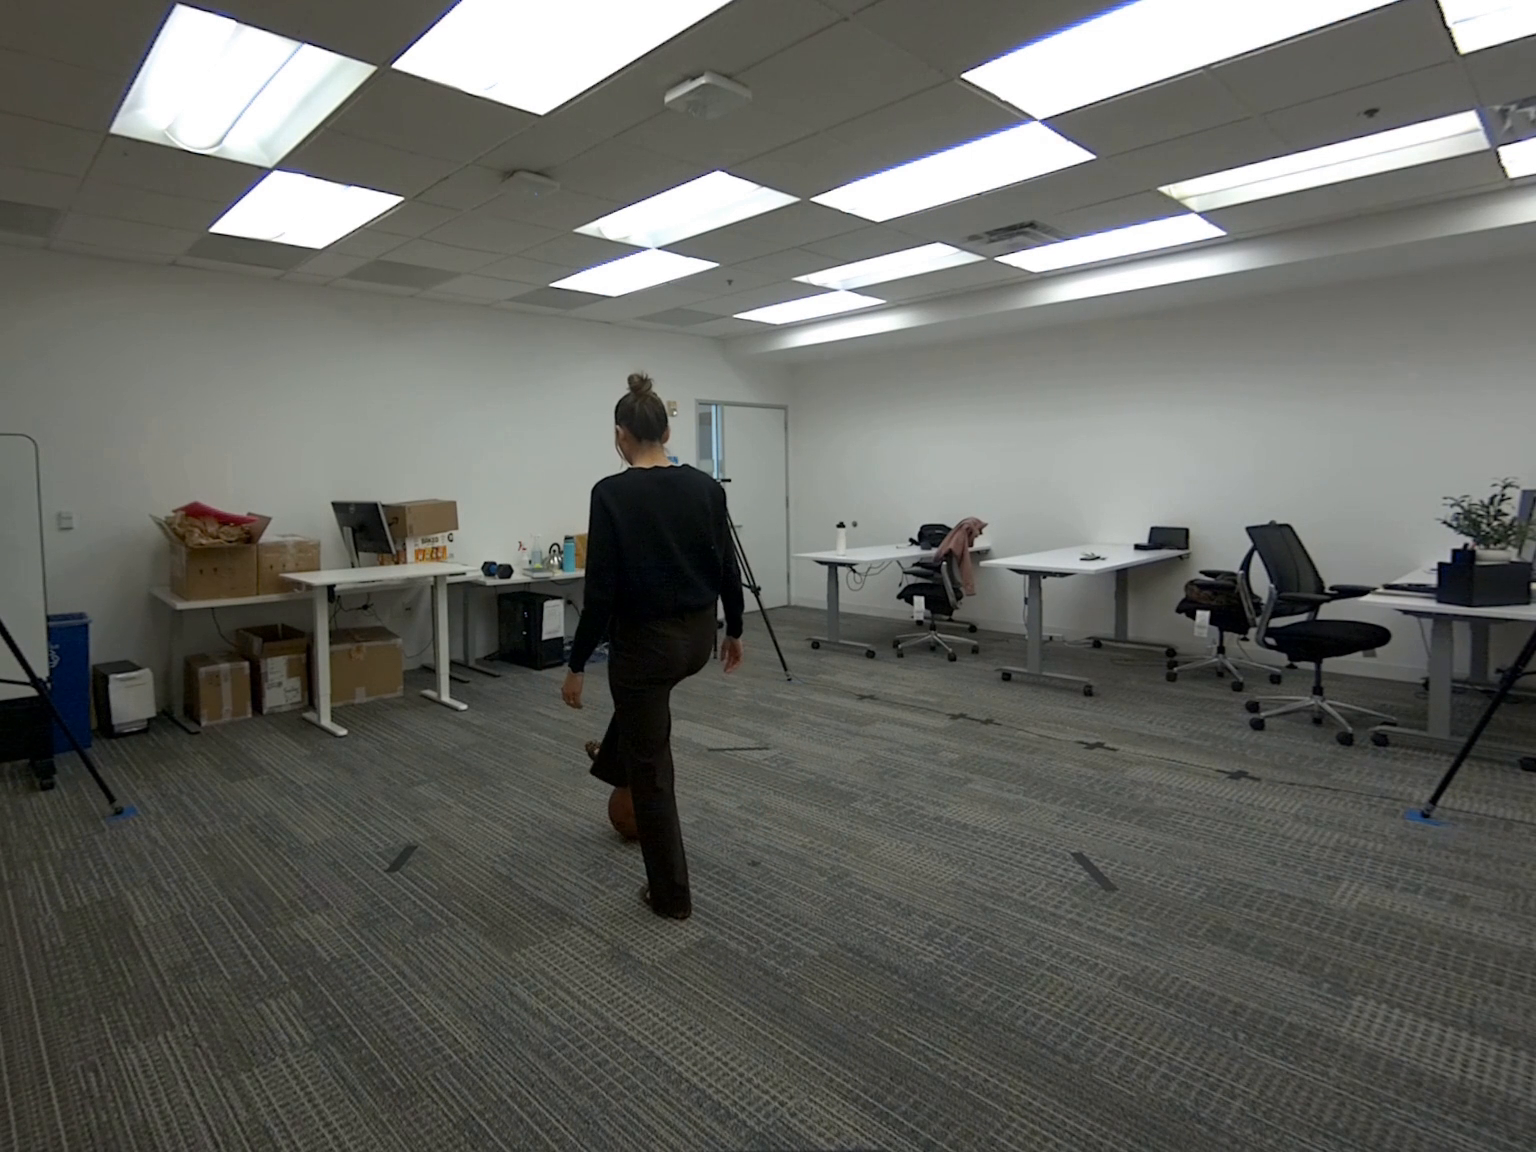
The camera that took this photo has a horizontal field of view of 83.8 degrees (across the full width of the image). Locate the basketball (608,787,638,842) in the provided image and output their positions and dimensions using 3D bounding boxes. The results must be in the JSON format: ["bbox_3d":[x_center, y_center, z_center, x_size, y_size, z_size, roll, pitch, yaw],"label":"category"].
[{"bbox_3d":[-0.501,0.912,3.356,0.236,0.235,0.237,-1,5,-2],"label":"basketball"}]
